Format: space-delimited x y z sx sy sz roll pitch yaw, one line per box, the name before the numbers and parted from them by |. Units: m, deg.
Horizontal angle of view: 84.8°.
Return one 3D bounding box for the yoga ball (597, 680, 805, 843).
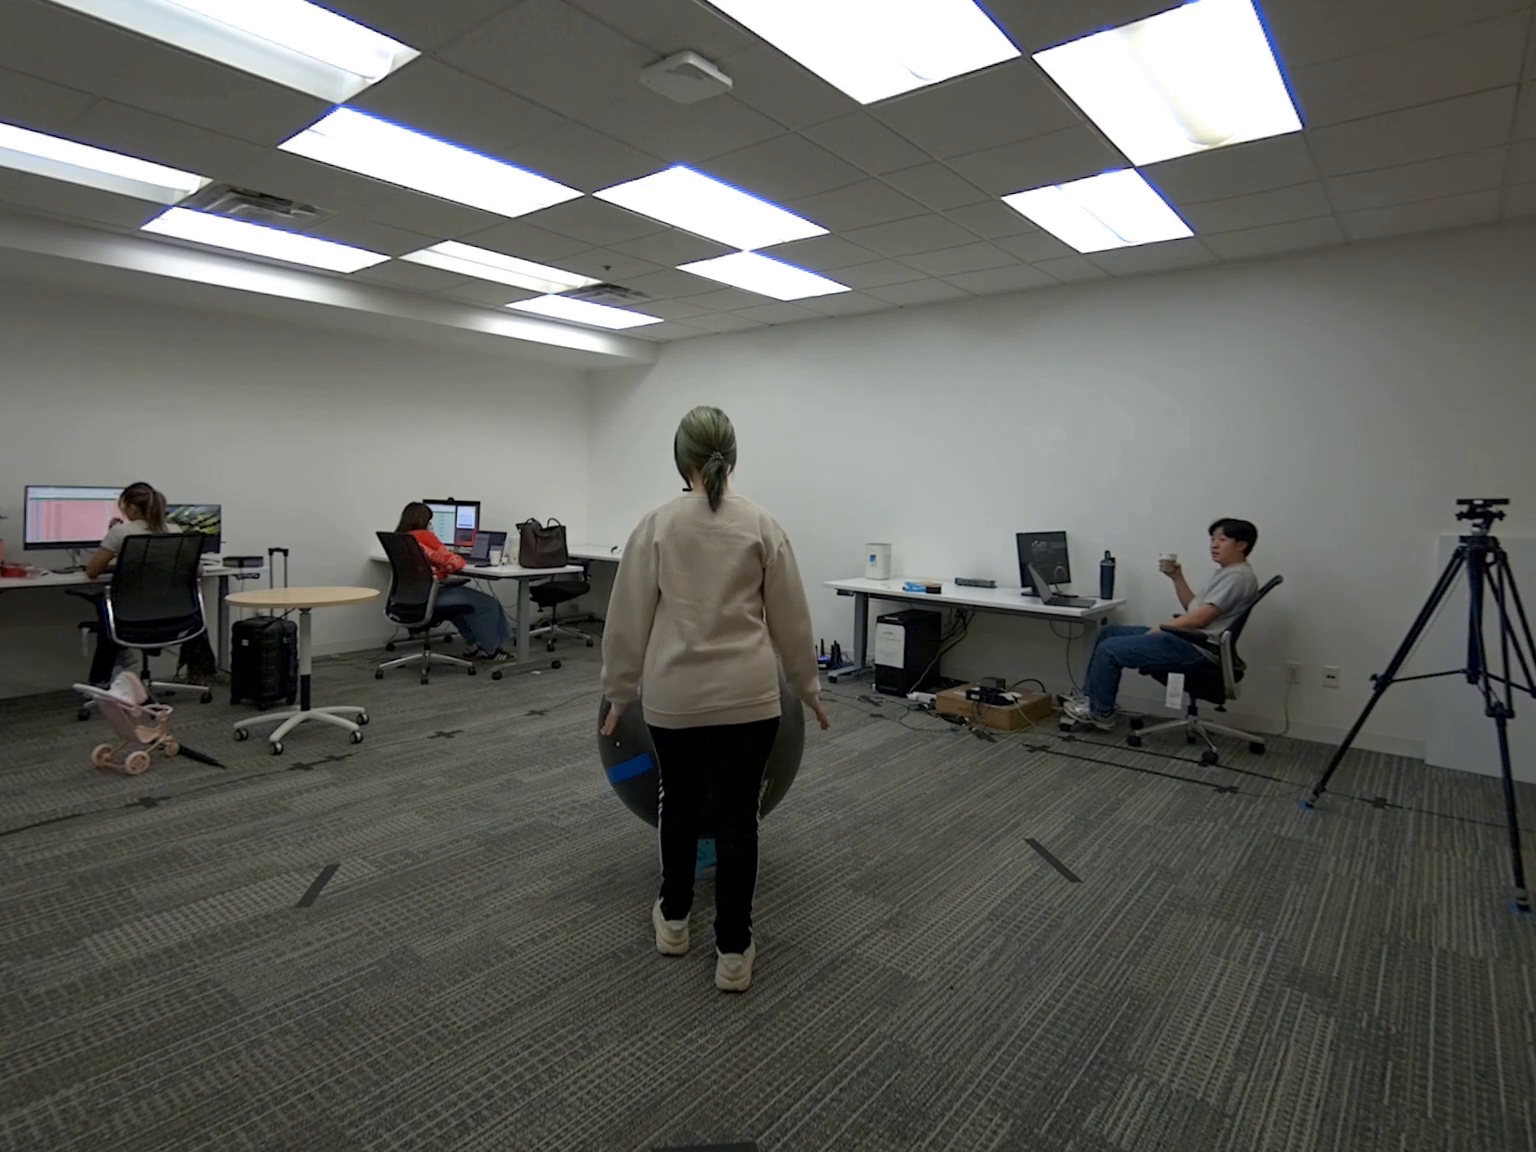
yoga ball | -0.249 0.556 3.112 0.757 0.756 0.762 1 4 -2
